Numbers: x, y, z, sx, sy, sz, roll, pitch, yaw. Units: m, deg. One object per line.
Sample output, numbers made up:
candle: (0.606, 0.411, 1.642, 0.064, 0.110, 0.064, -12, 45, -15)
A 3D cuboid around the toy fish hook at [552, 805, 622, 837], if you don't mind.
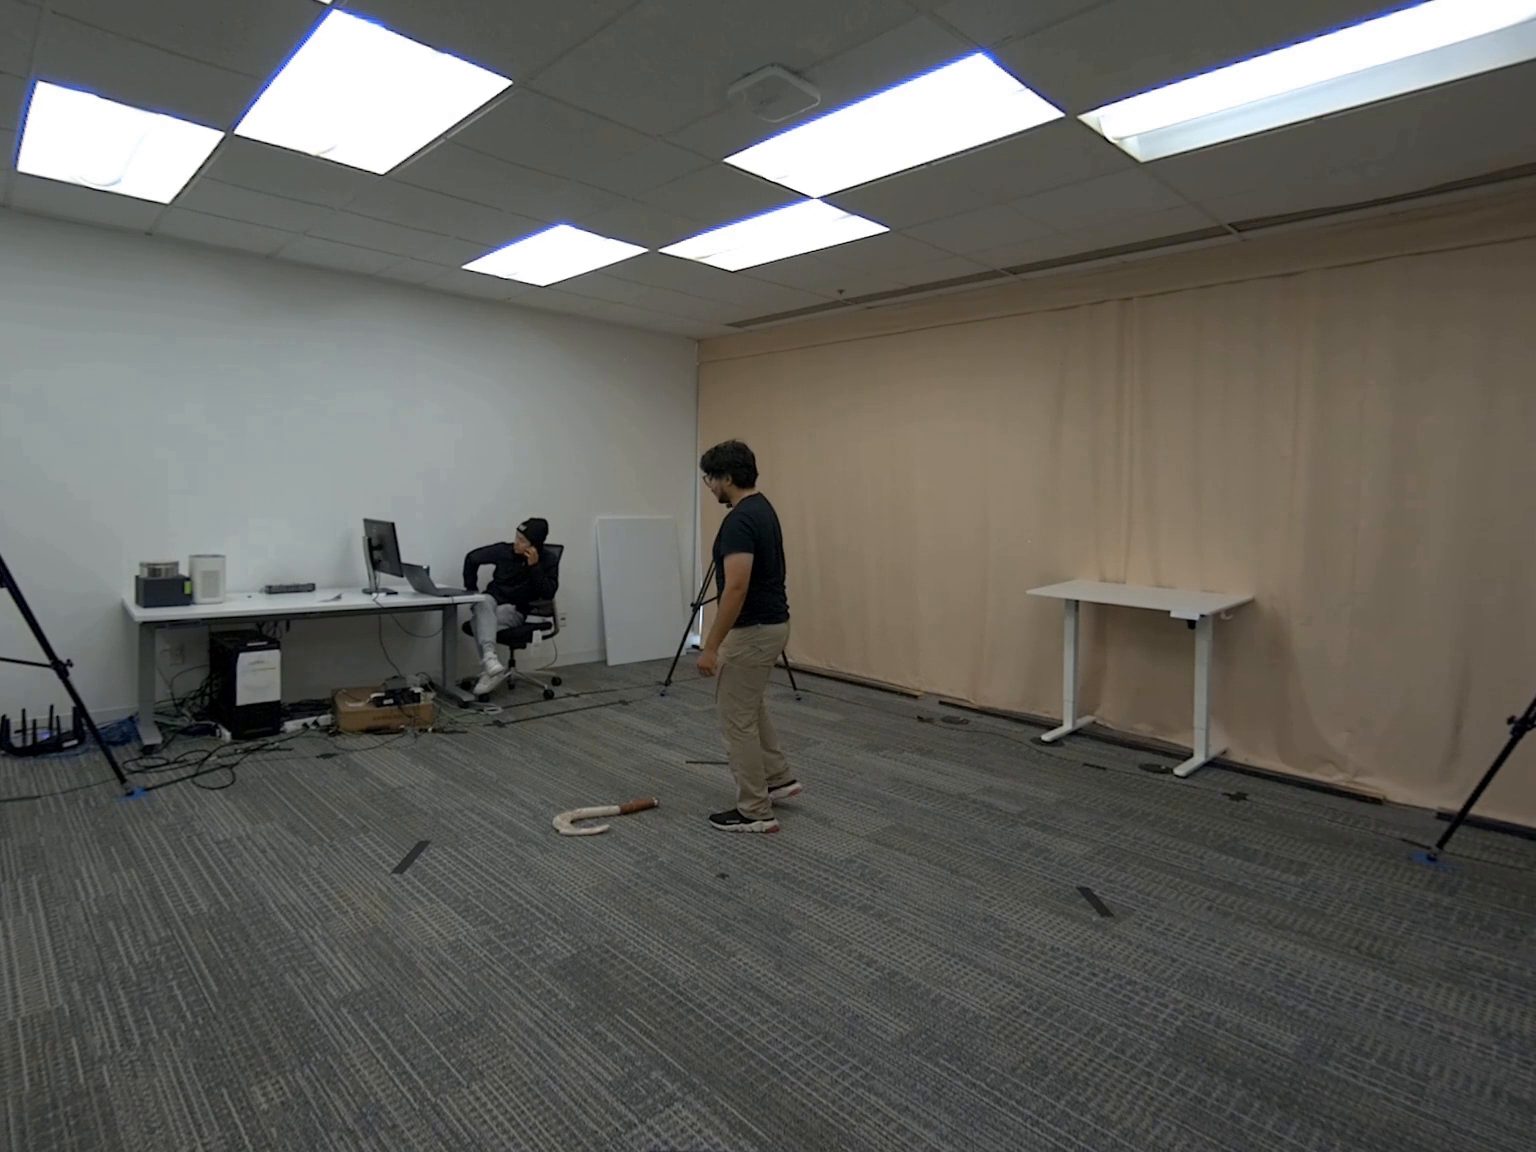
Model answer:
toy fish hook: (-0.680, 1.036, 3.612, 0.496, 0.048, 0.231, -3, 13, -34)
